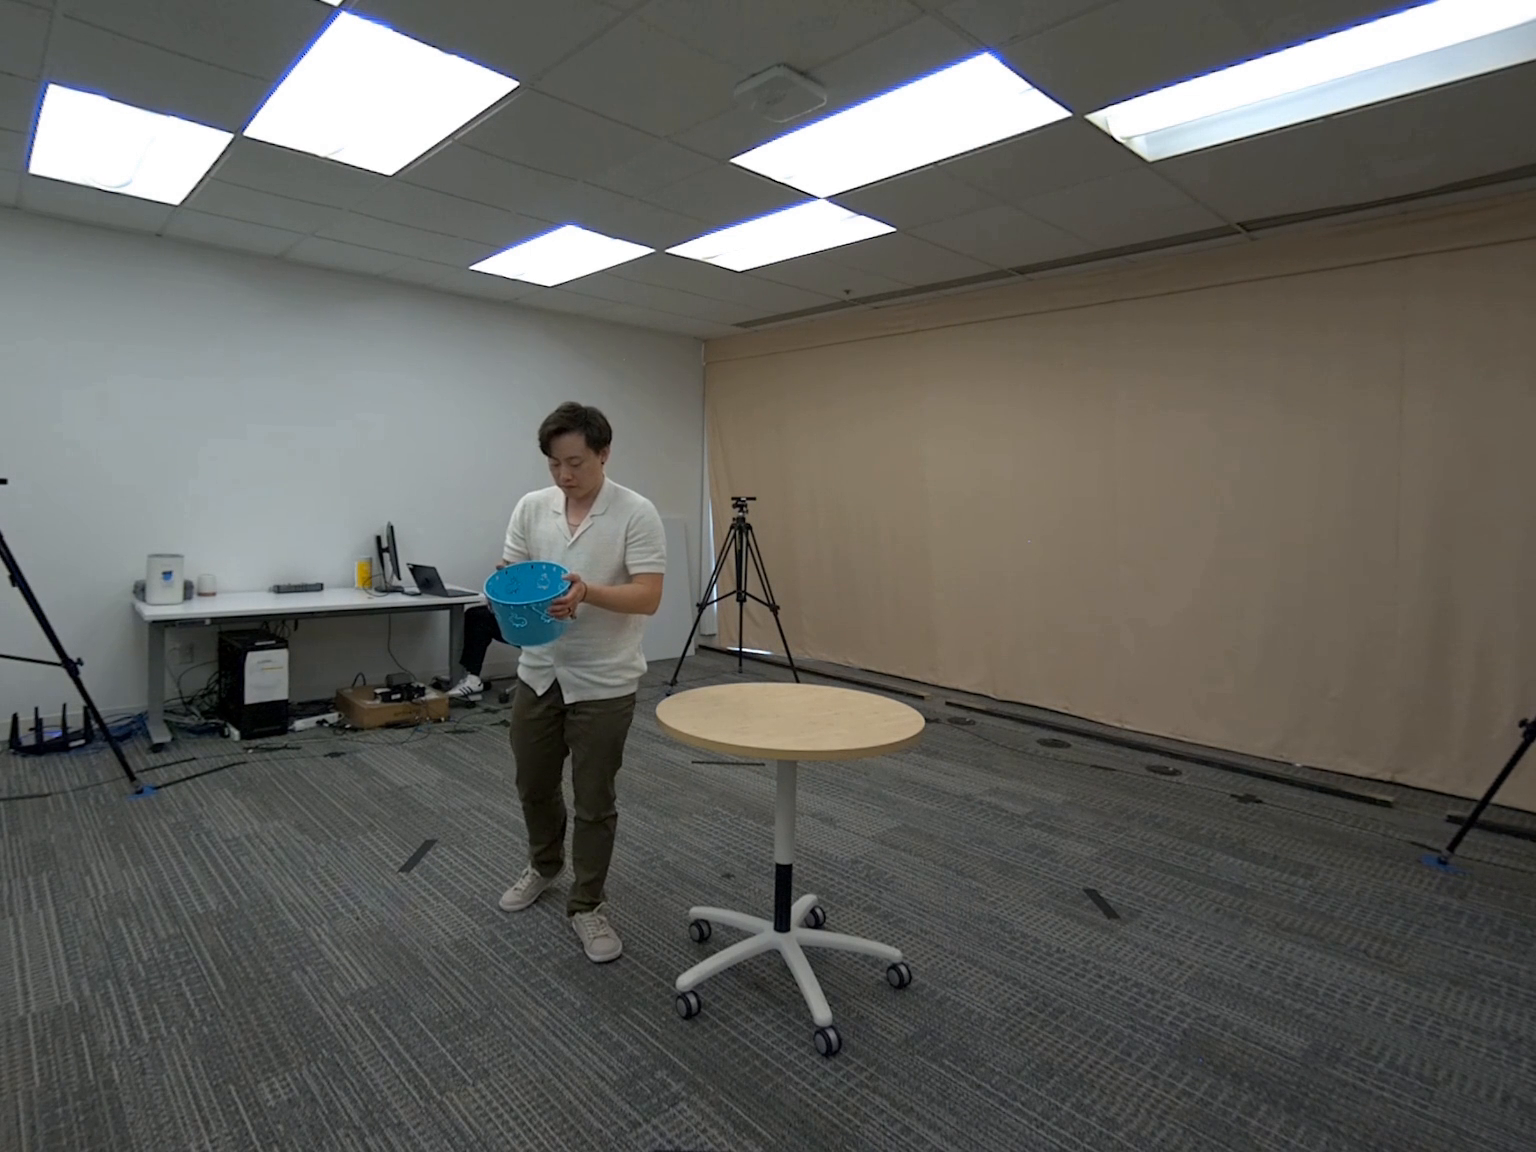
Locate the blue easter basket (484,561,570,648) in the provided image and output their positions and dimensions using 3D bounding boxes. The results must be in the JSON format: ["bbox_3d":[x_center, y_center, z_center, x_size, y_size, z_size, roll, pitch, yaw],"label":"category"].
[{"bbox_3d":[-0.650,0.086,2.306,0.243,0.153,0.248,0,28,-2],"label":"blue easter basket"}]
